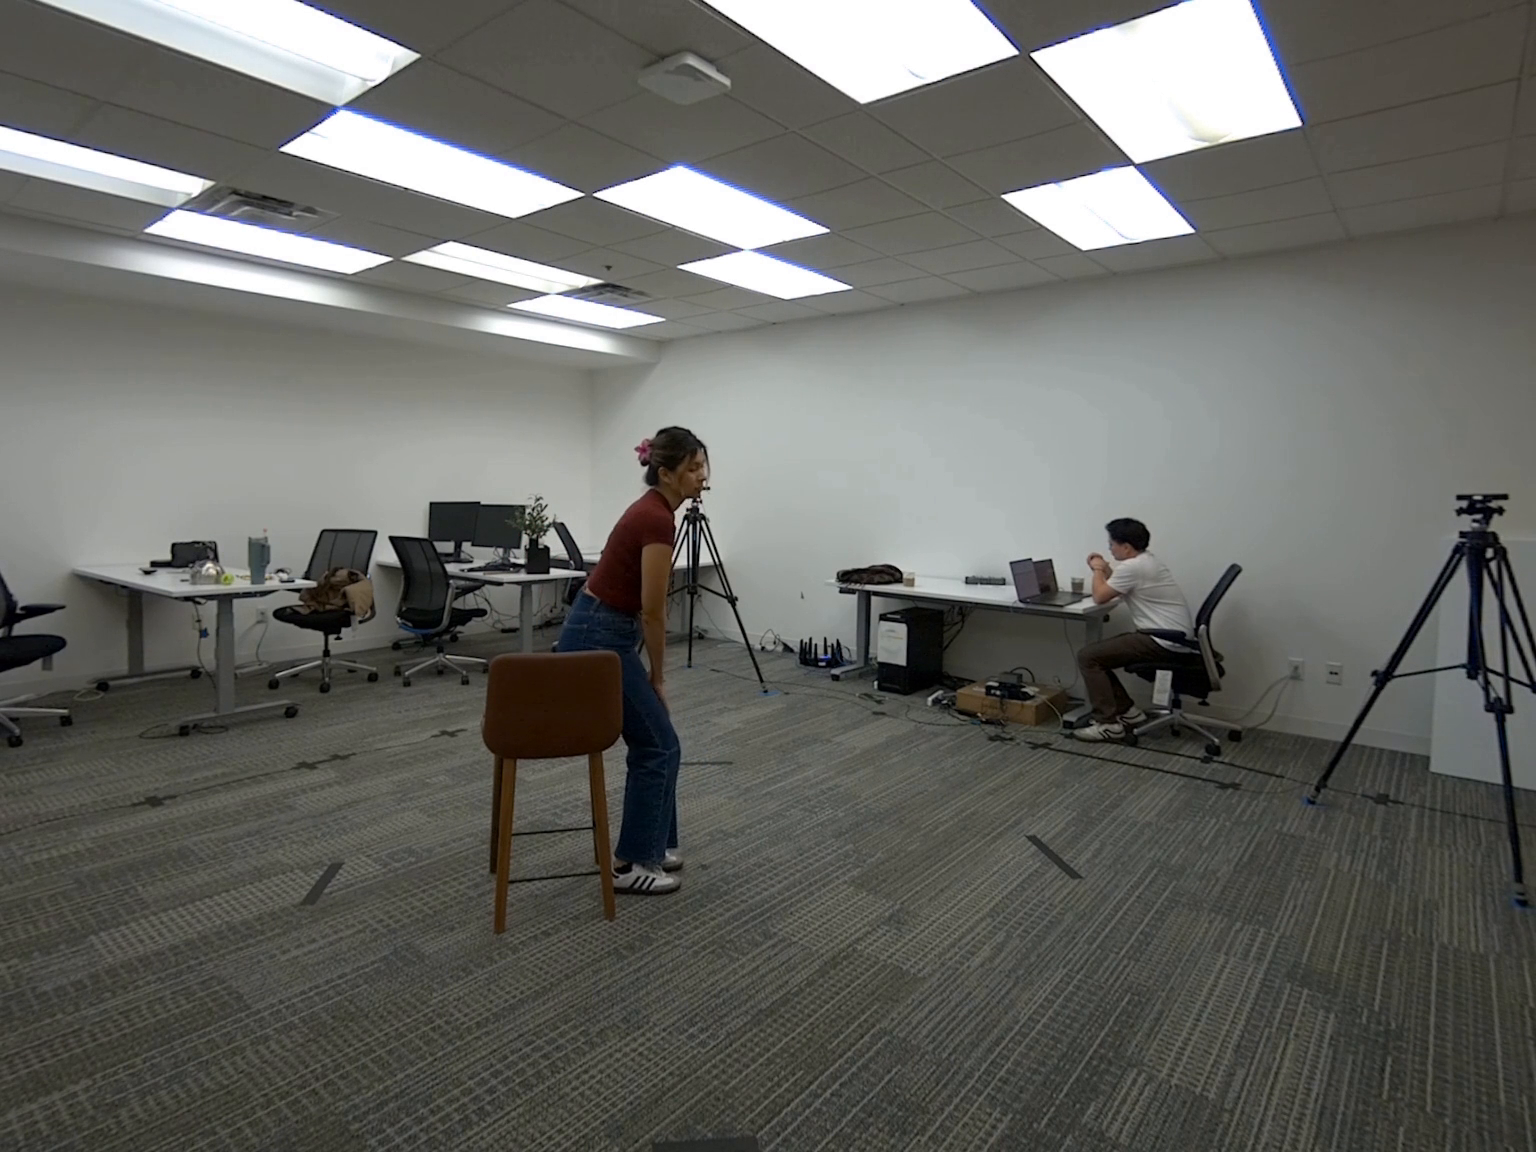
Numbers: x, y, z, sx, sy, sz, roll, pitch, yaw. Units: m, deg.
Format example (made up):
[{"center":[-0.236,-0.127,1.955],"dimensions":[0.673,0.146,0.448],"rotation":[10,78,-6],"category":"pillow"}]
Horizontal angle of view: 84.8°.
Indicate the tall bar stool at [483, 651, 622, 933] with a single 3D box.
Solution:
[{"center":[-0.751,0.653,2.857],"dimensions":[0.449,0.885,0.478],"rotation":[-1,5,-18],"category":"tall bar stool"}]
